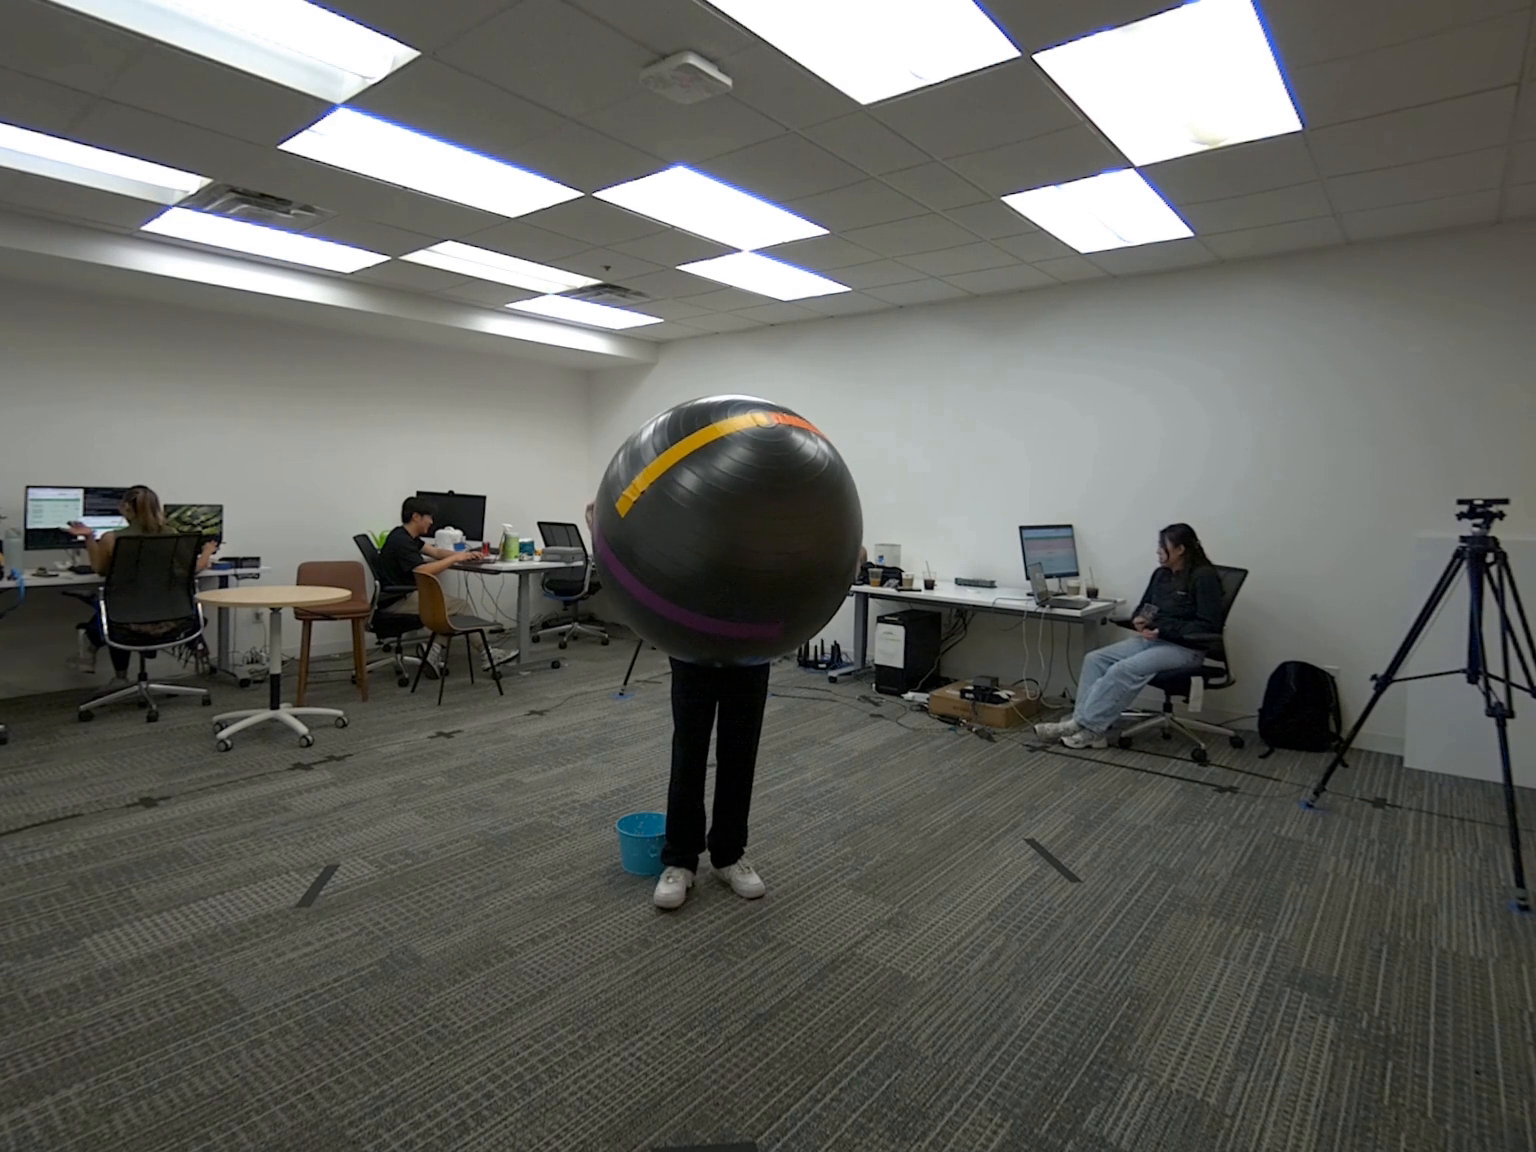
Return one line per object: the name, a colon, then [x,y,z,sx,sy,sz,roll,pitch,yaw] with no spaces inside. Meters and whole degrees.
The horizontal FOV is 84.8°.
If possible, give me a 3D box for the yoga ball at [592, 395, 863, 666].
yoga ball: [-0.119,-0.119,2.376,0.757,0.756,0.761,1,4,-2]
